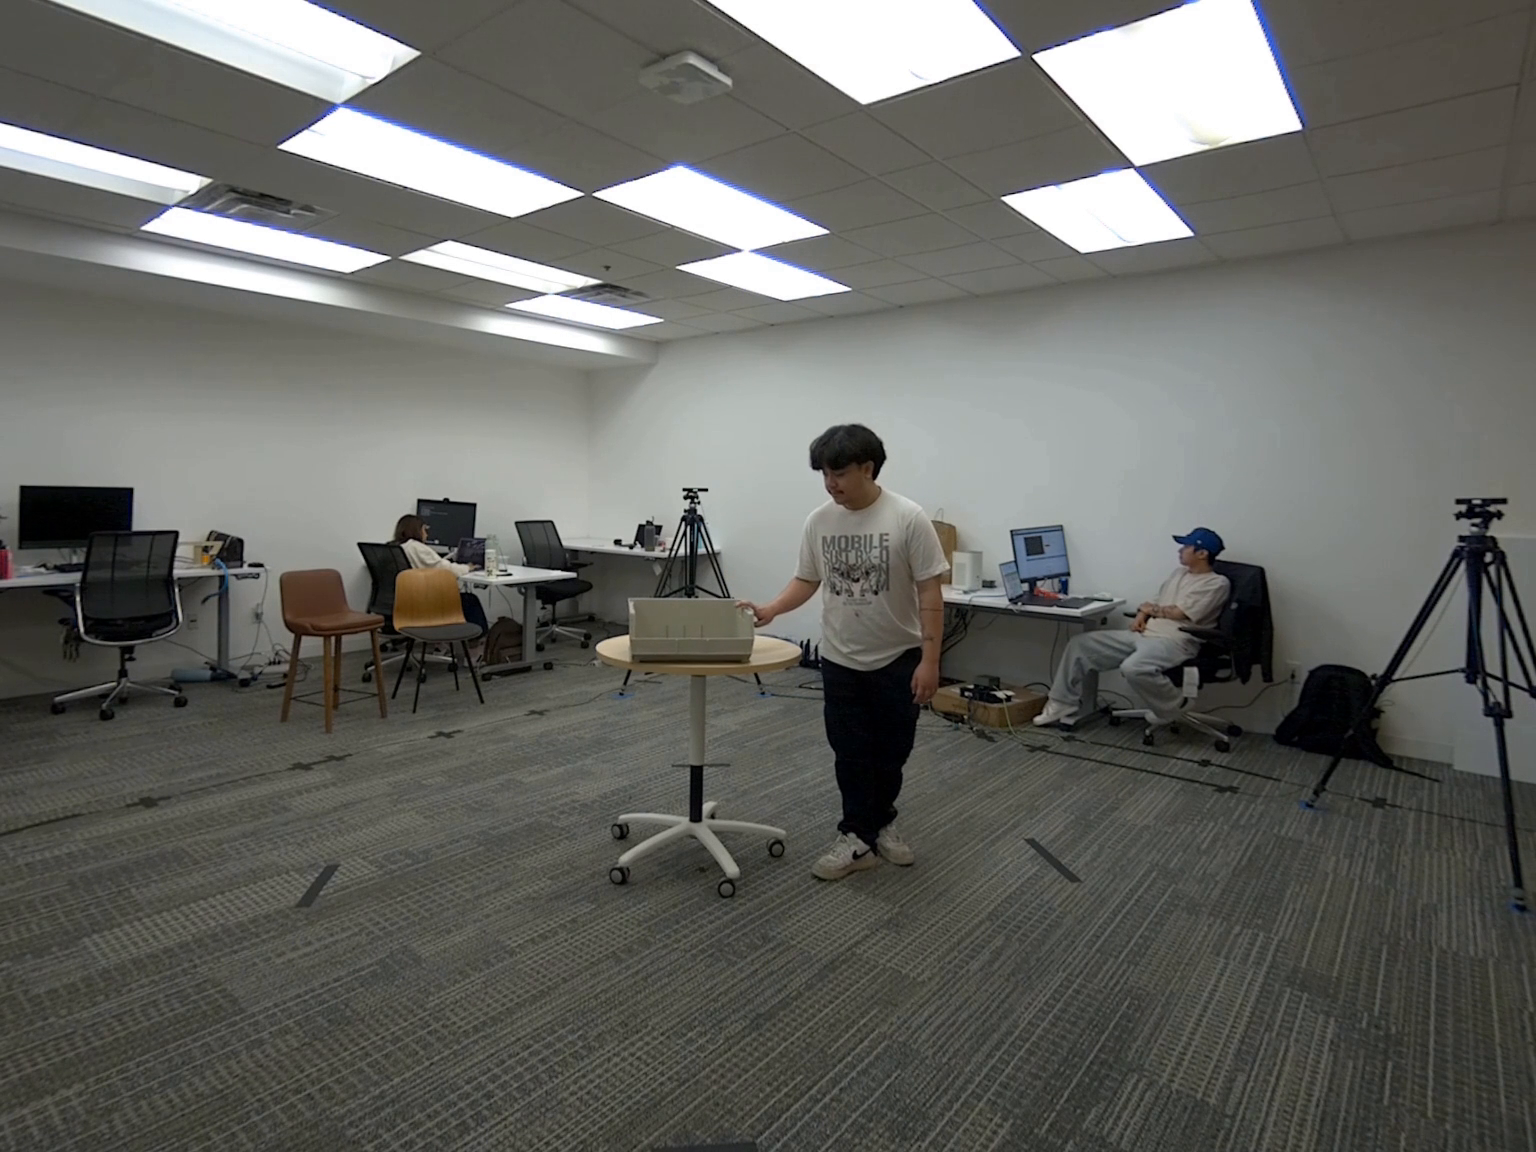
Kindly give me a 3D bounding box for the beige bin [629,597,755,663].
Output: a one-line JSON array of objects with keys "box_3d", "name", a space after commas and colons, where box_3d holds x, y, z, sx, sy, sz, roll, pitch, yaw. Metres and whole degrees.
[{"box_3d": [-0.288, 0.188, 3.002, 0.419, 0.188, 0.381, 0, 3, -8], "name": "beige bin"}]
